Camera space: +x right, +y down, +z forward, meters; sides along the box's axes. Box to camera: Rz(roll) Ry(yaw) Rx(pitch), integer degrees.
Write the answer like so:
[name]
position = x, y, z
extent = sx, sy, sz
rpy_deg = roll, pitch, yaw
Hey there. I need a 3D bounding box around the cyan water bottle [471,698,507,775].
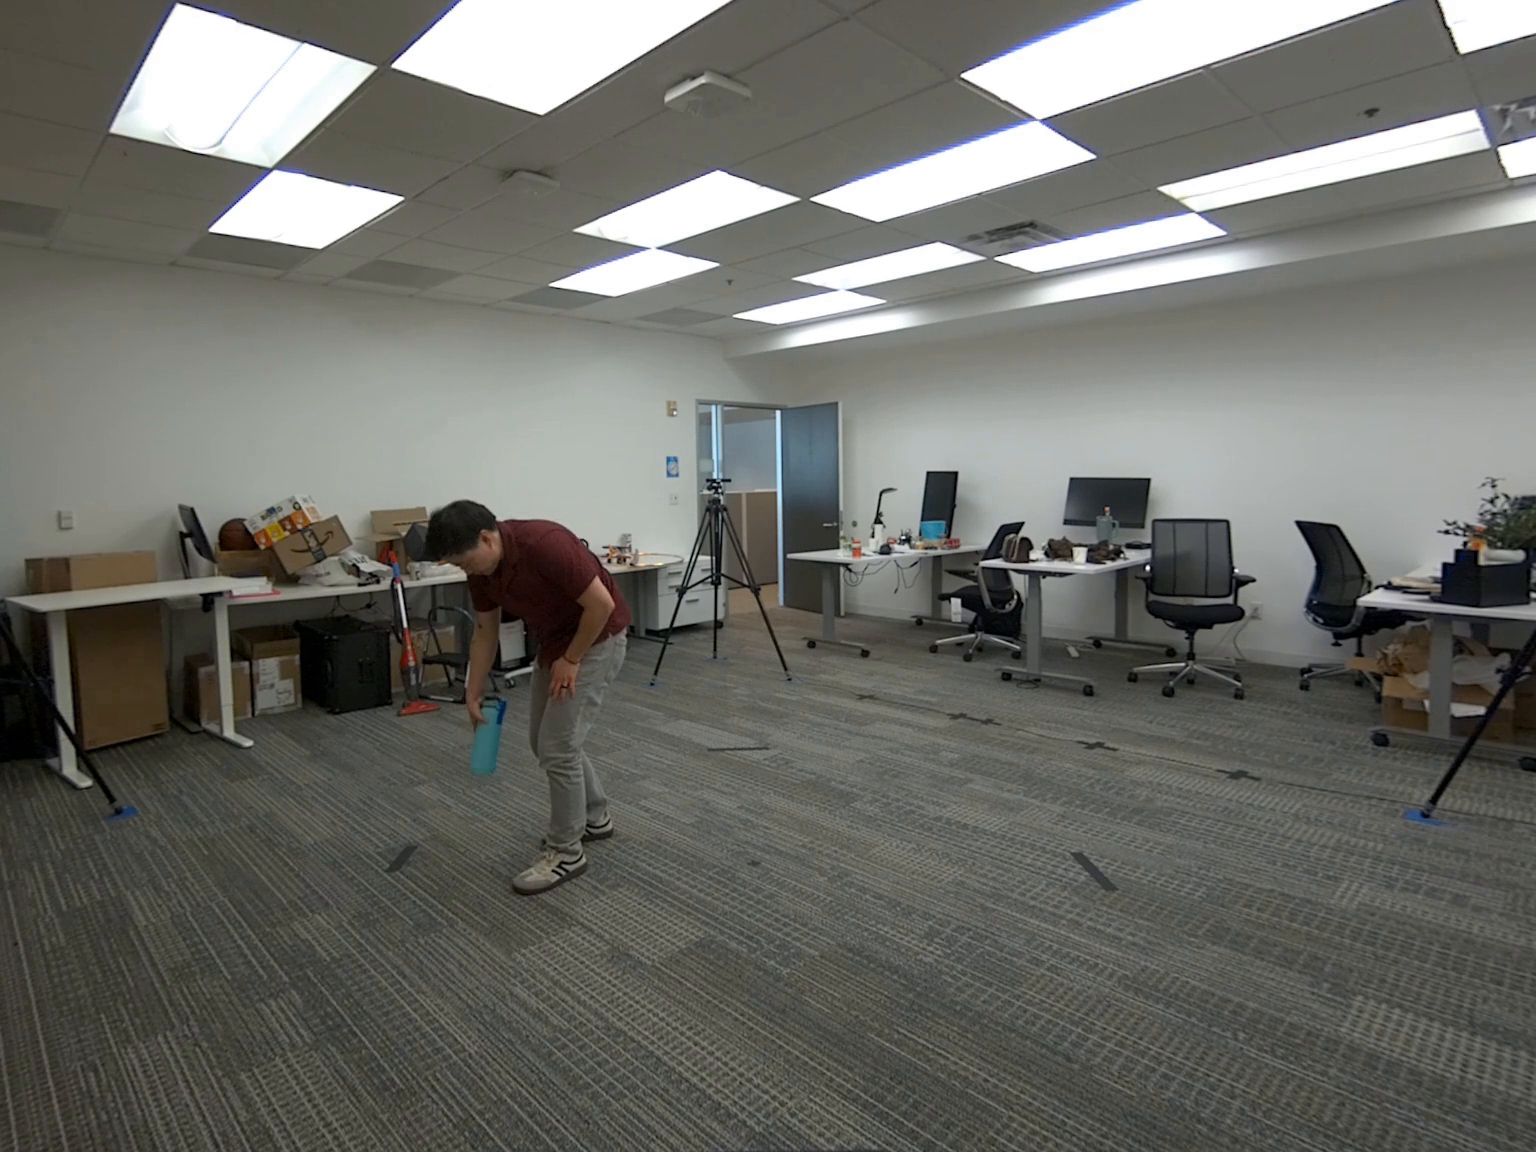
[cyan water bottle]
position = -1.008, 0.570, 3.091
extent = 0.092, 0.287, 0.091
rpy_deg = 5, -16, 0
